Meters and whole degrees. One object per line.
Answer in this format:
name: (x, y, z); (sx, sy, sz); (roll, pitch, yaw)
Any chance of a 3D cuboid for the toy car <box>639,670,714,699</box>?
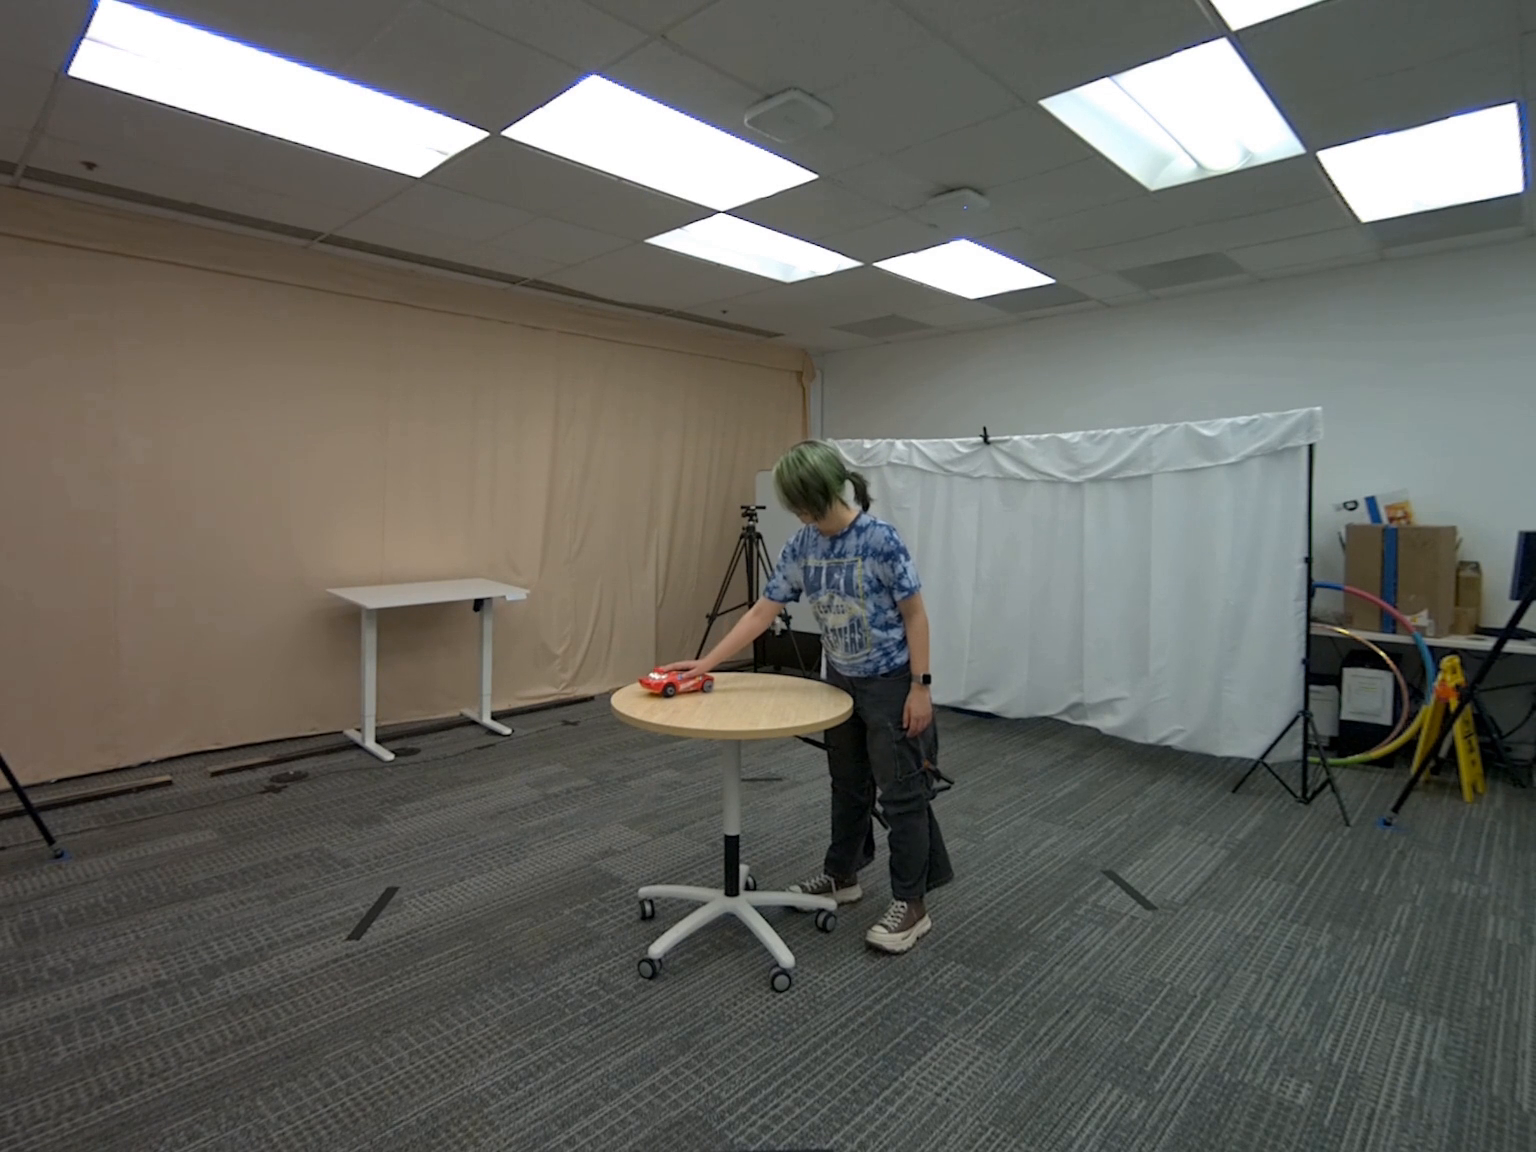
toy car: (-0.299, 0.352, 2.738); (0.246, 0.083, 0.134); (11, -2, -34)
